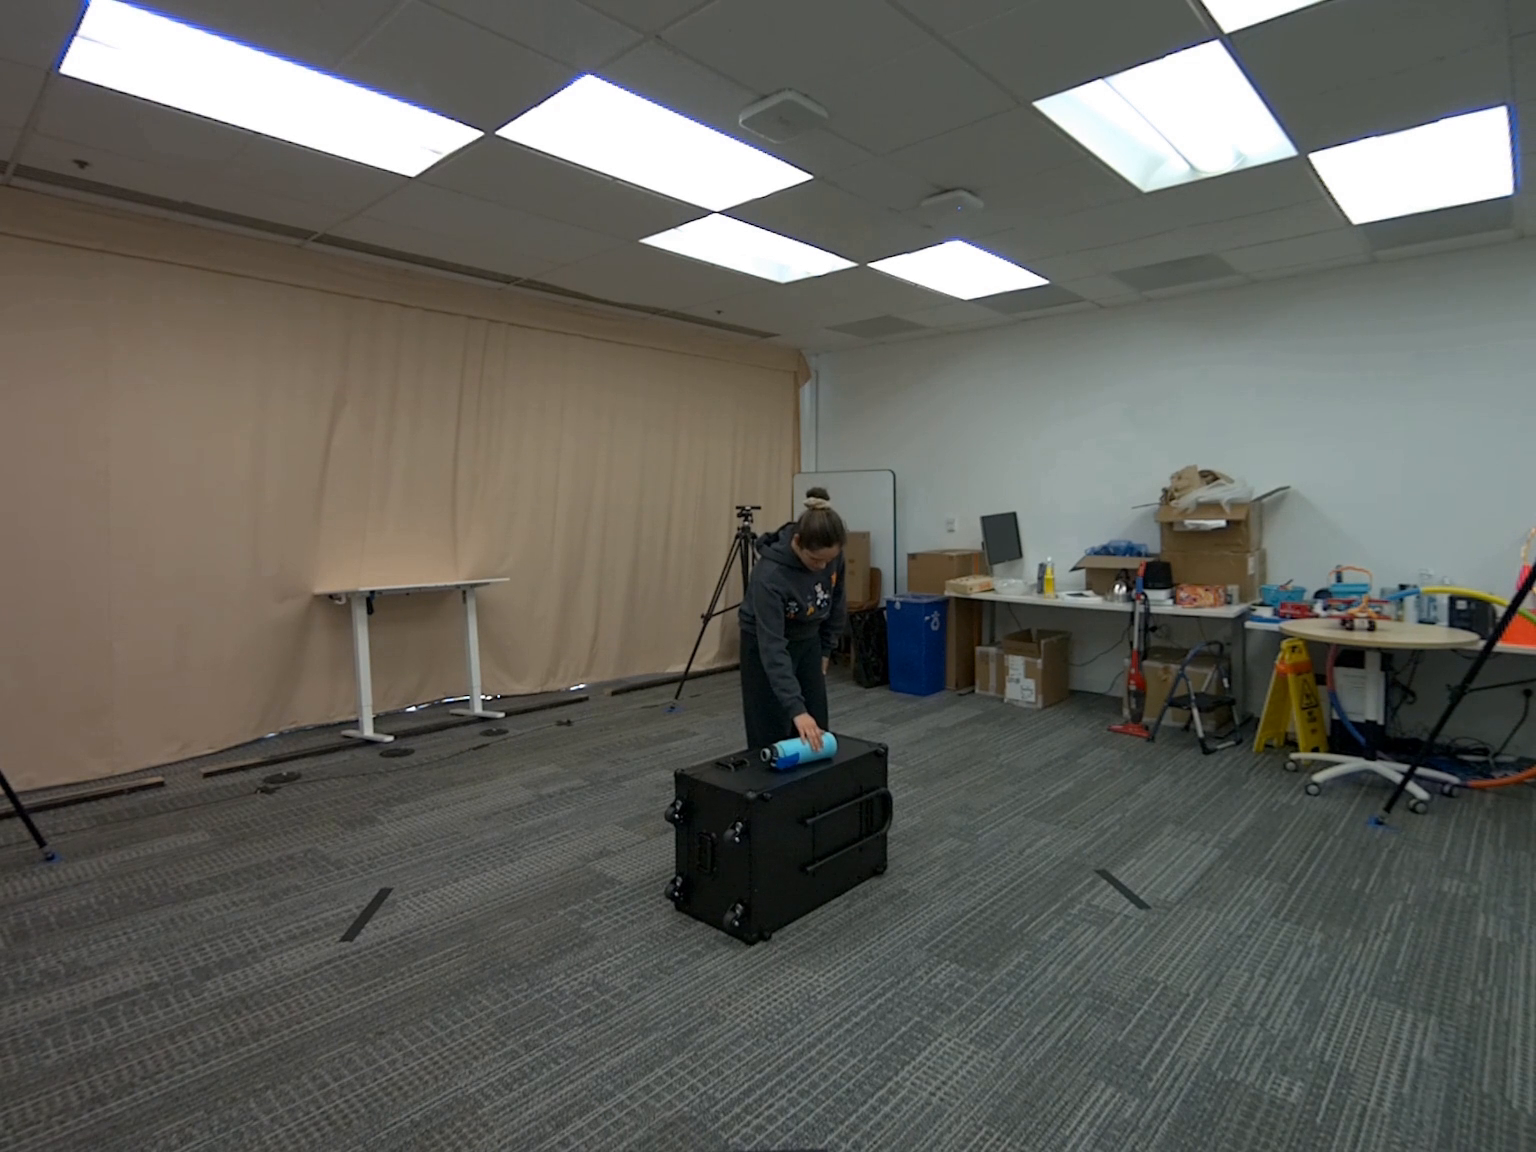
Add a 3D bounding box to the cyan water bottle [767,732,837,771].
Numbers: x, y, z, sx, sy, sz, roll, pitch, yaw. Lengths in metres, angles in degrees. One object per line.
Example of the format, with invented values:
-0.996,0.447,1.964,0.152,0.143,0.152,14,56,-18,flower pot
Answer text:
0.115,0.607,2.974,0.275,0.092,0.095,-4,6,-35,cyan water bottle
